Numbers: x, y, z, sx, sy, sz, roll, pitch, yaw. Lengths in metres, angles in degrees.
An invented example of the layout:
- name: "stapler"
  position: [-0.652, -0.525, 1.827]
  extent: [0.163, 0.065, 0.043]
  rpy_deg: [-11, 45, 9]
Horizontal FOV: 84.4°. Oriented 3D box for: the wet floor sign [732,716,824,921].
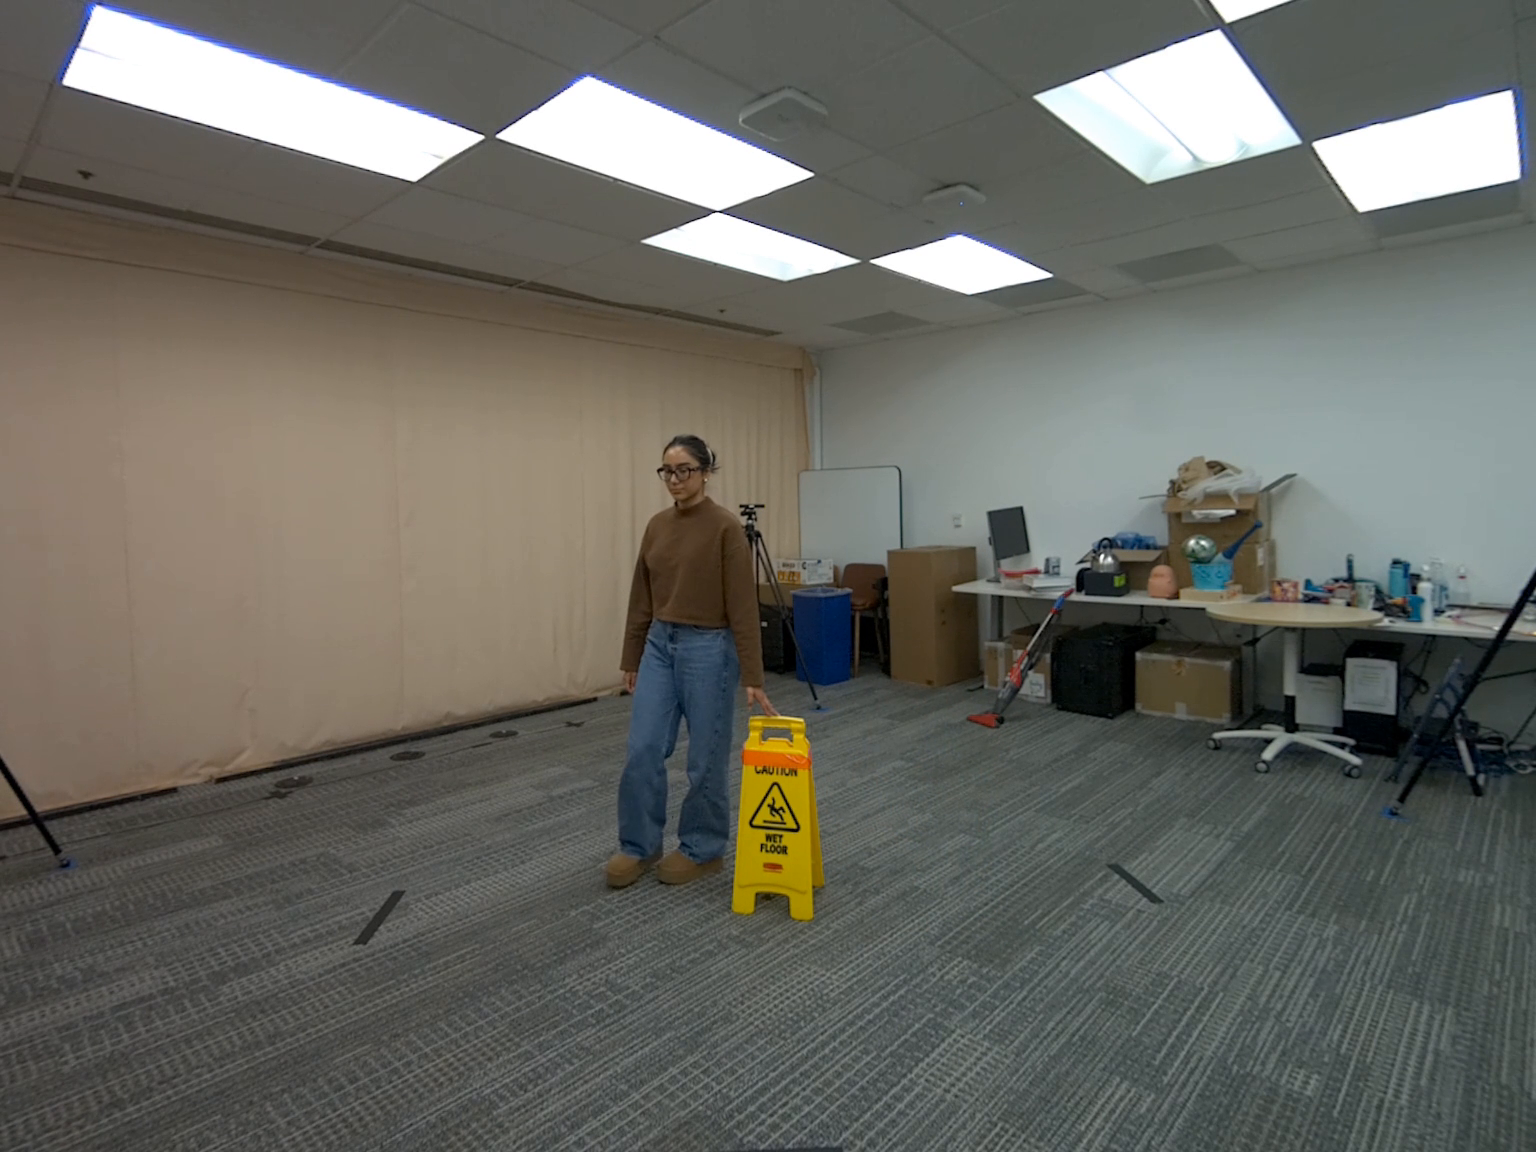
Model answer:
- name: "wet floor sign"
  position: [0.039, 0.816, 2.962]
  extent: [0.287, 0.645, 0.286]
  rpy_deg: [1, 3, 14]
